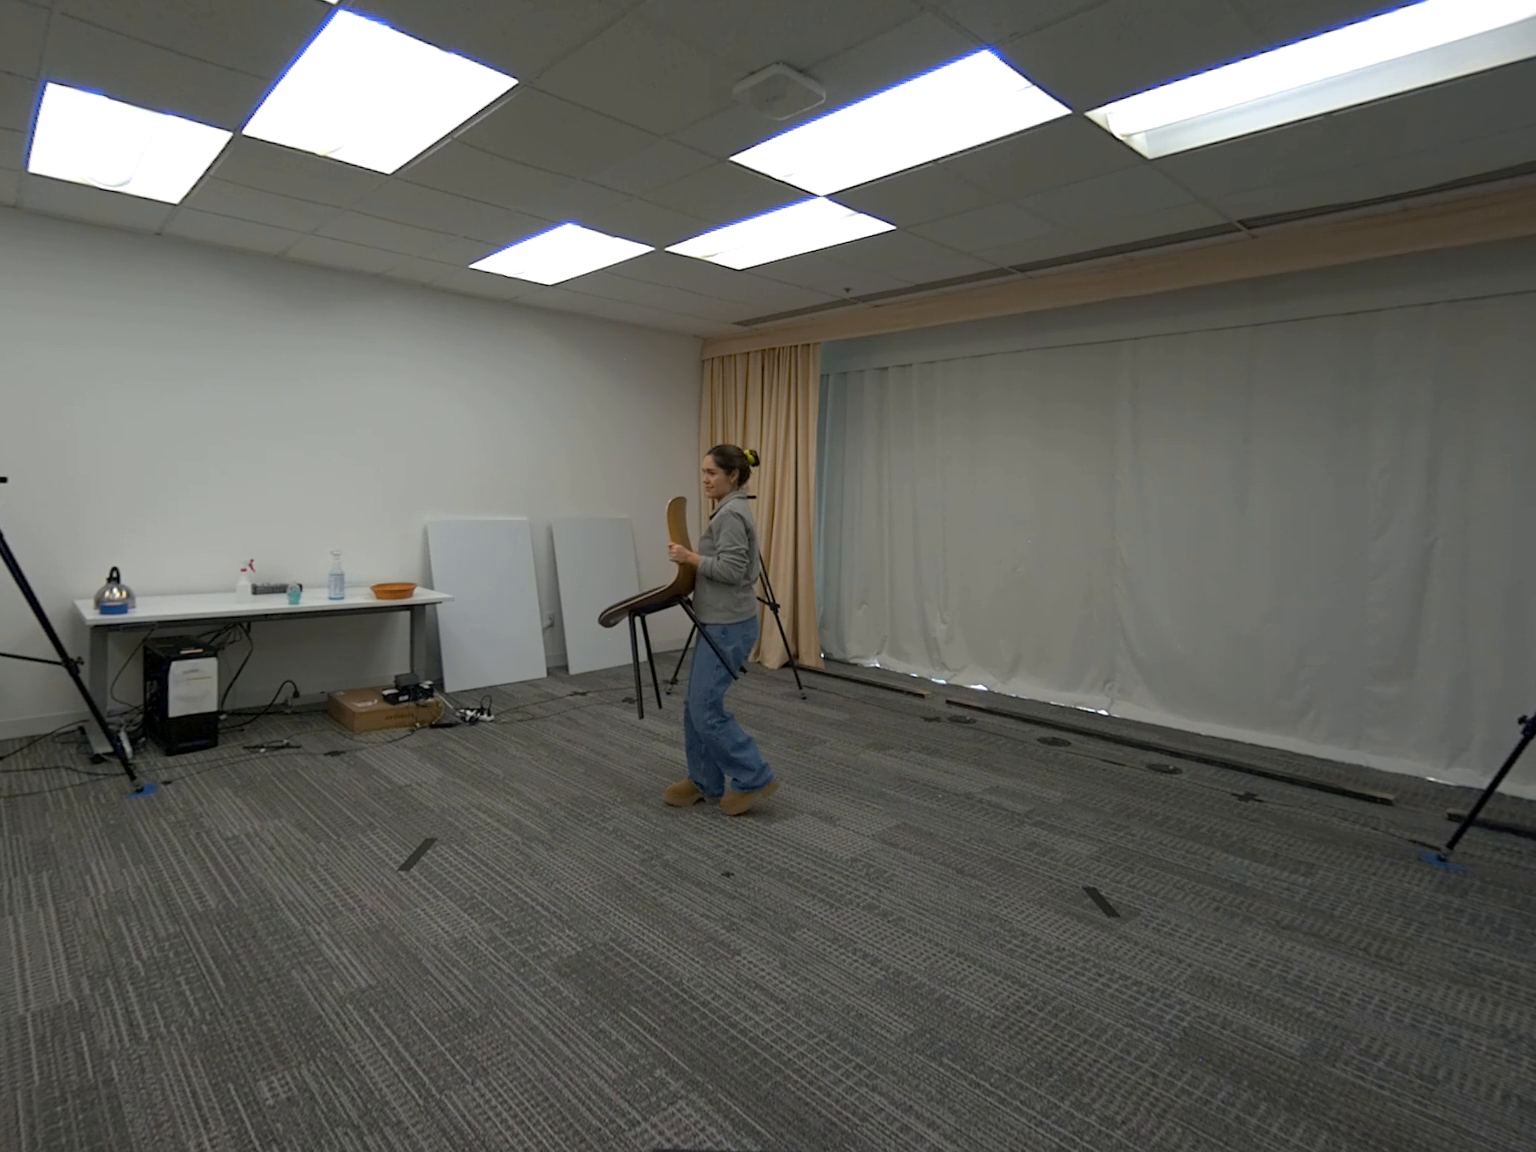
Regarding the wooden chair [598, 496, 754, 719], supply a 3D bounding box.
[{"bbox_3d":[-0.490,0.144,3.761,0.524,0.882,0.474,-18,-6,3],"label":"wooden chair"}]
